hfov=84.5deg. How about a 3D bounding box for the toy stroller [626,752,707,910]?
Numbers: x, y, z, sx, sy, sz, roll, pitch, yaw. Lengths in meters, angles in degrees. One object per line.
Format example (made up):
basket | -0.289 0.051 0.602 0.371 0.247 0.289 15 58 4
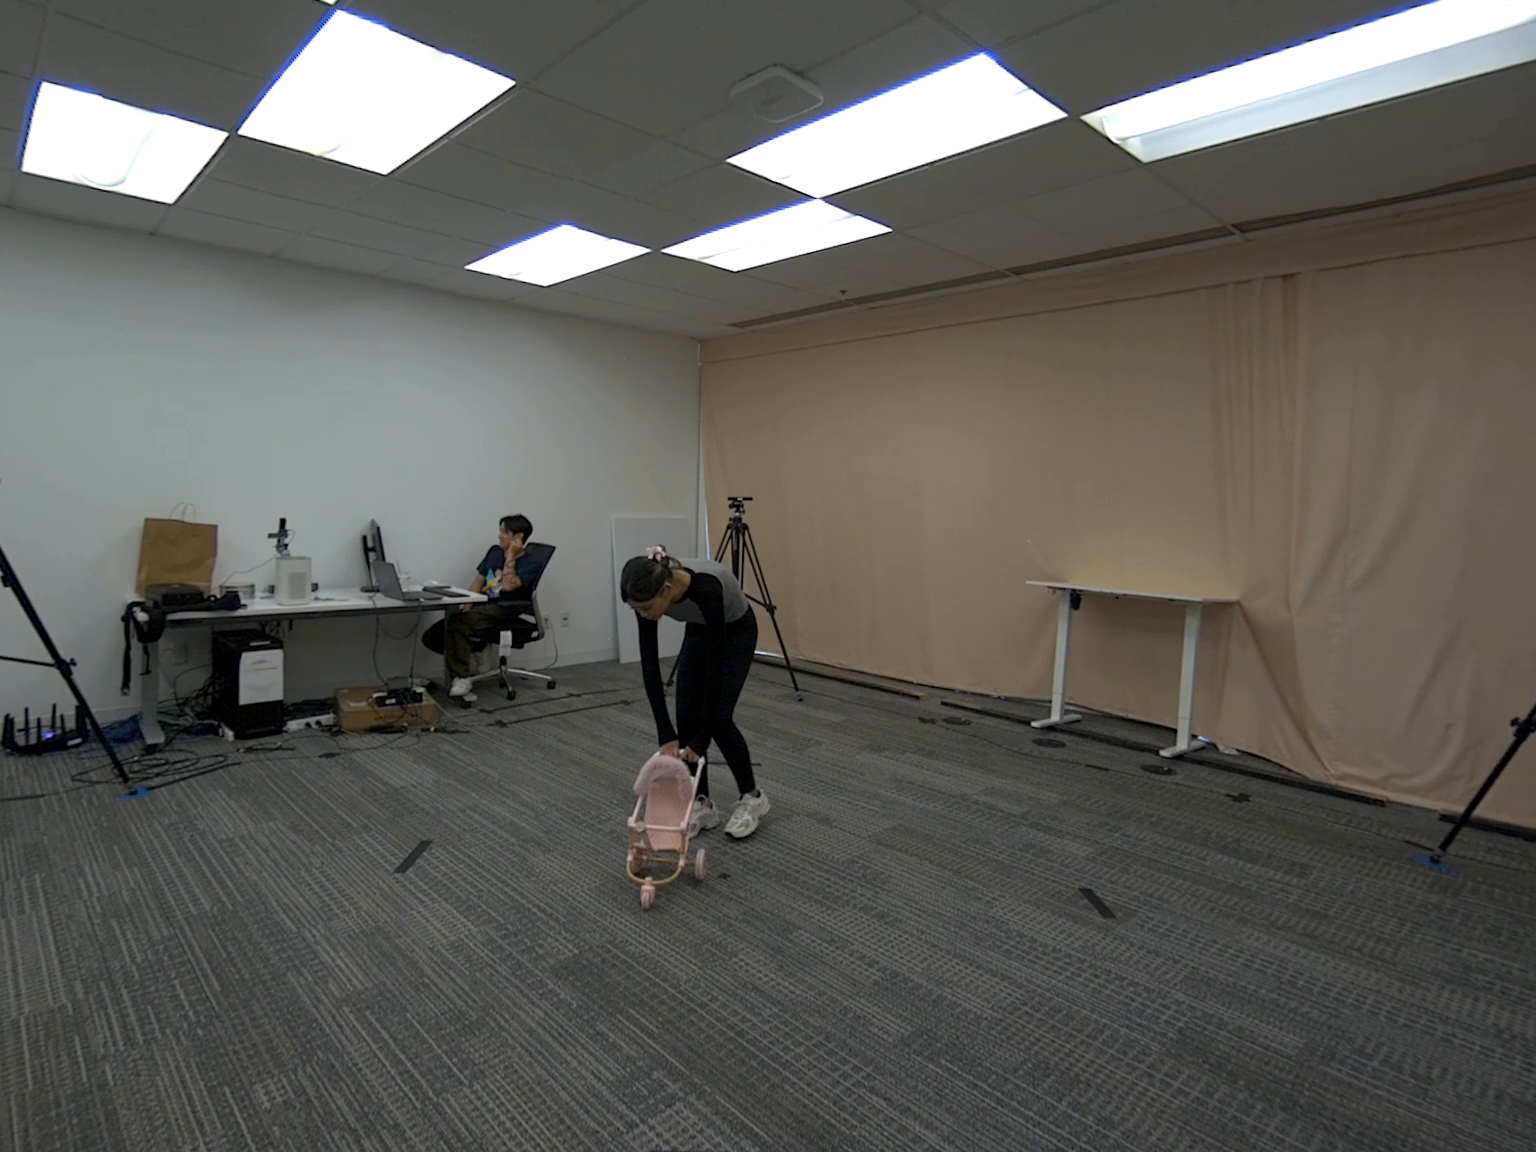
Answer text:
toy stroller | -0.387 0.888 3.022 0.285 0.540 0.334 1 -13 14
